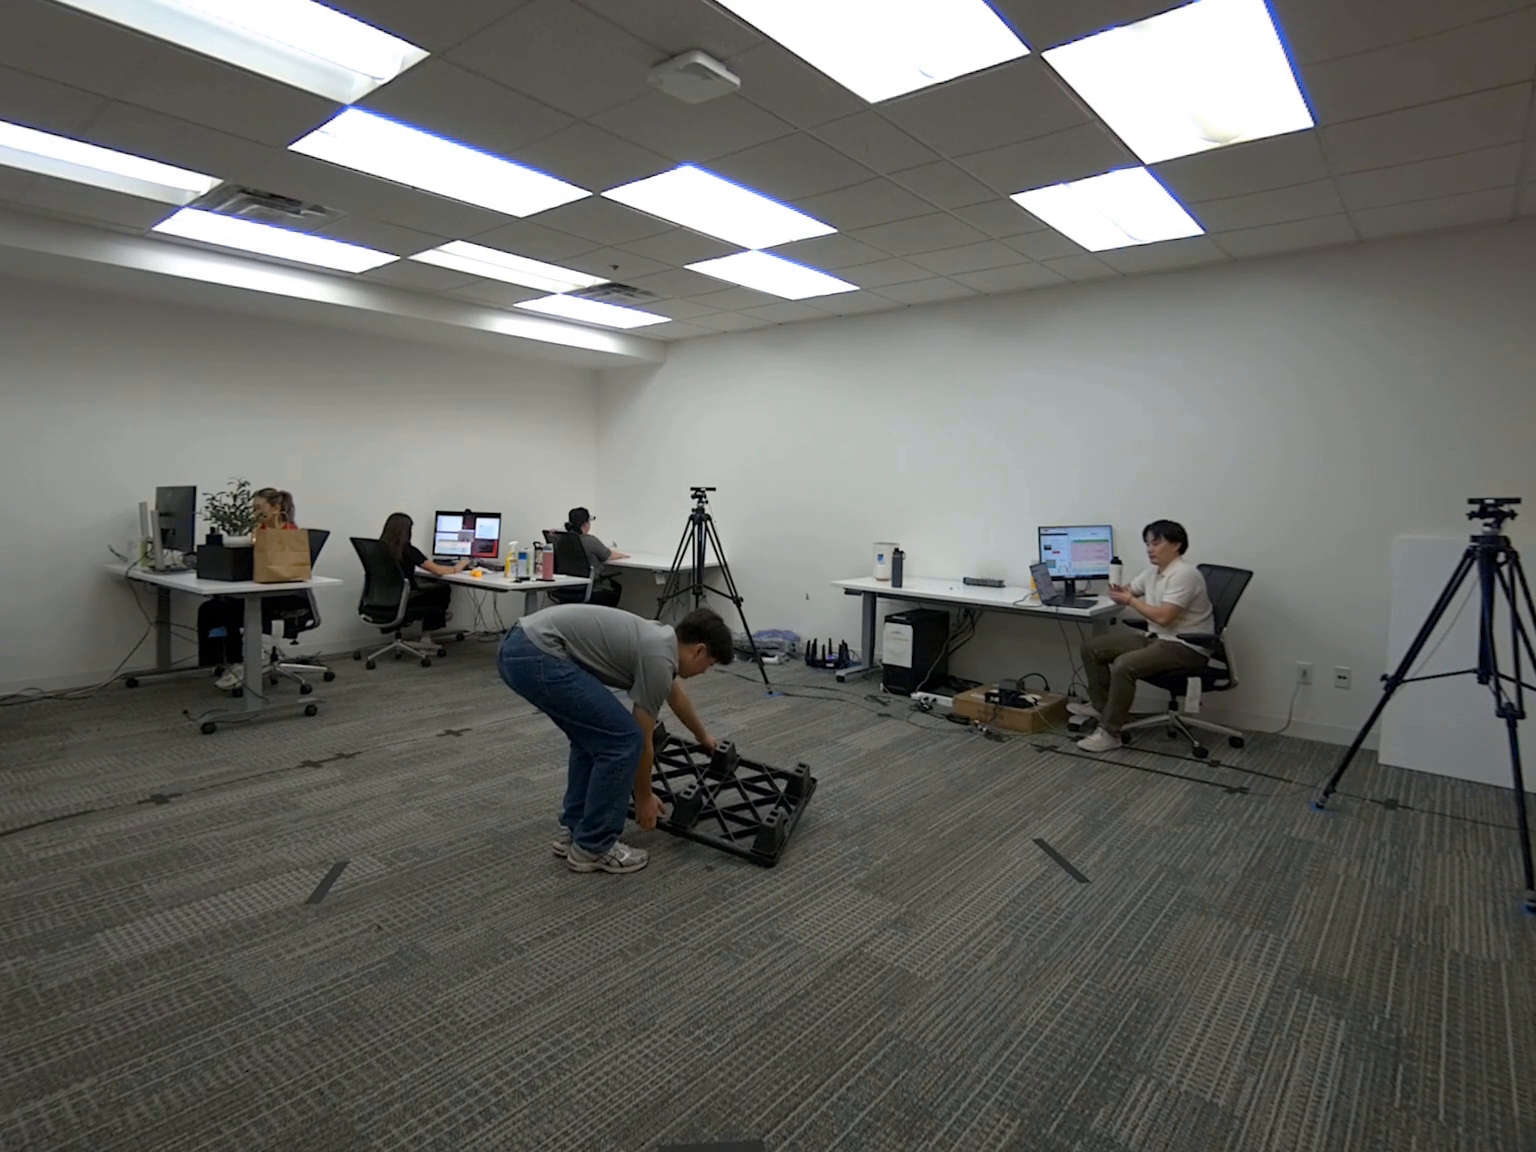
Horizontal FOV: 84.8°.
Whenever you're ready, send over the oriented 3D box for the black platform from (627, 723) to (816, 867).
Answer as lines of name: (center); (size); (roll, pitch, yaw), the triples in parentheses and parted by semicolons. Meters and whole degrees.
black platform: (-0.251, 0.843, 3.504); (0.824, 0.141, 0.601); (13, 22, 18)
